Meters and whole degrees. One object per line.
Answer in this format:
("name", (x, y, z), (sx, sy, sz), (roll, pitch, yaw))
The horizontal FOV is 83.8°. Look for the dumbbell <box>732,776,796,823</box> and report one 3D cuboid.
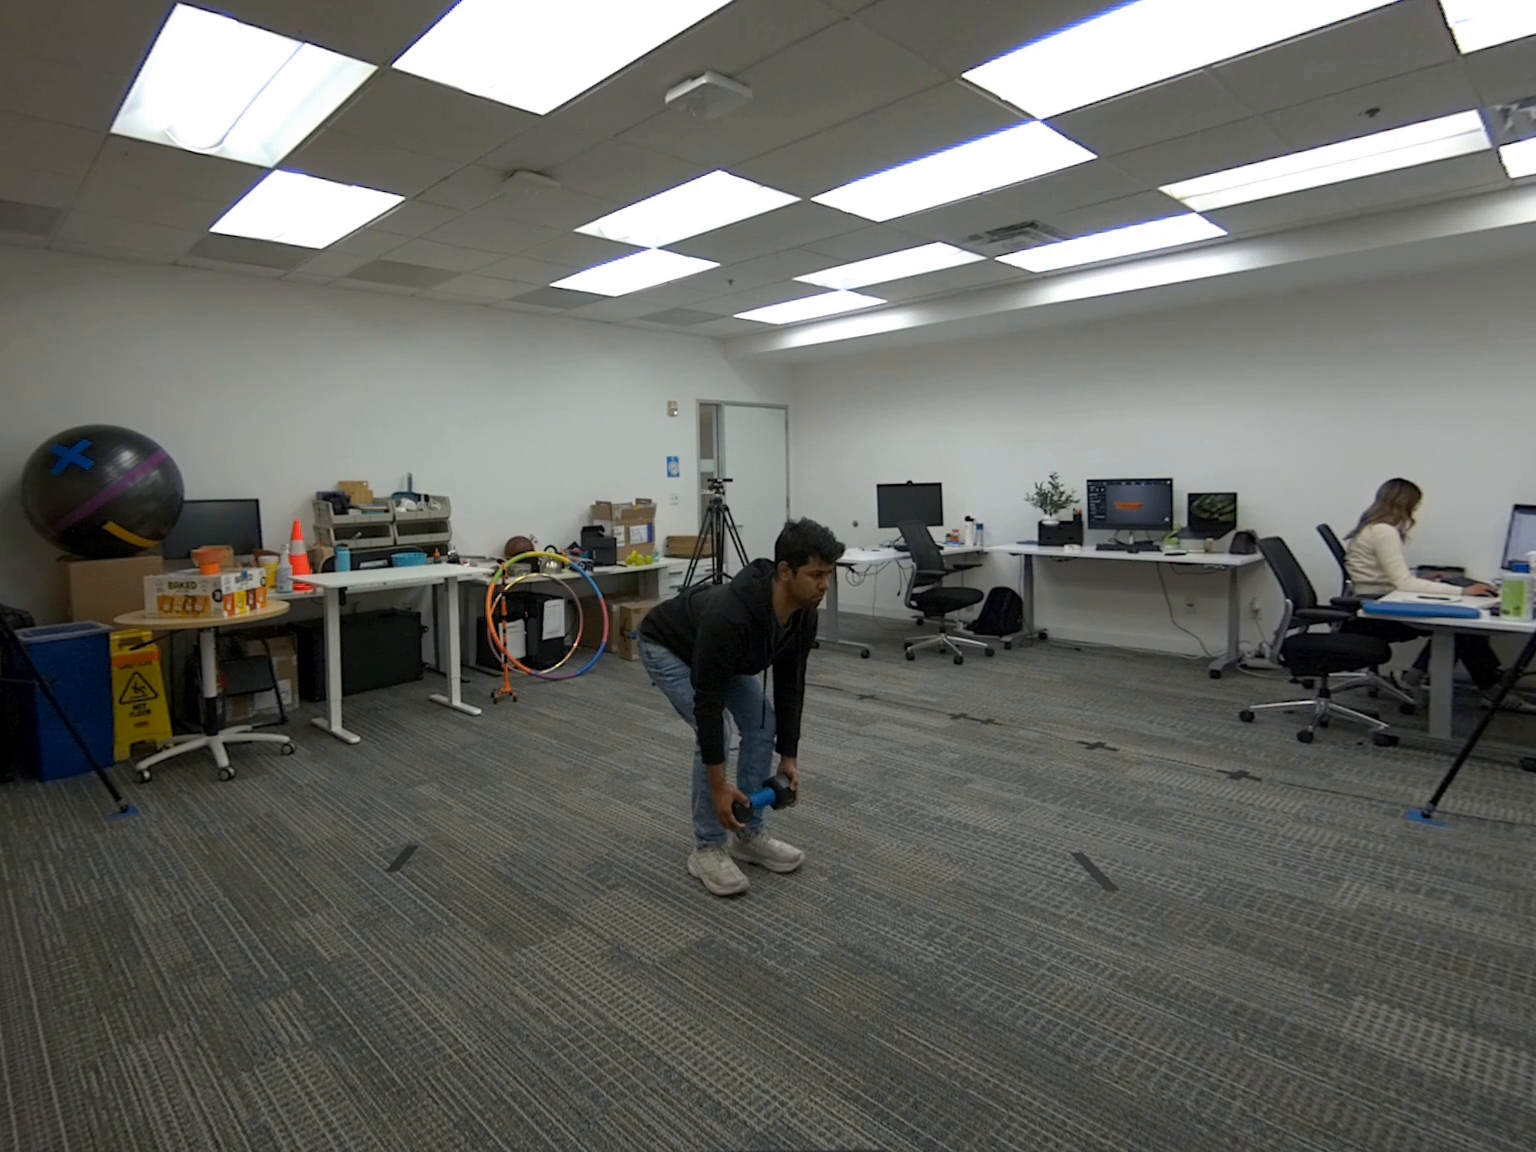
("dumbbell", (-0.030, 0.769, 2.971), (0.286, 0.111, 0.124), (-11, -19, -43))
